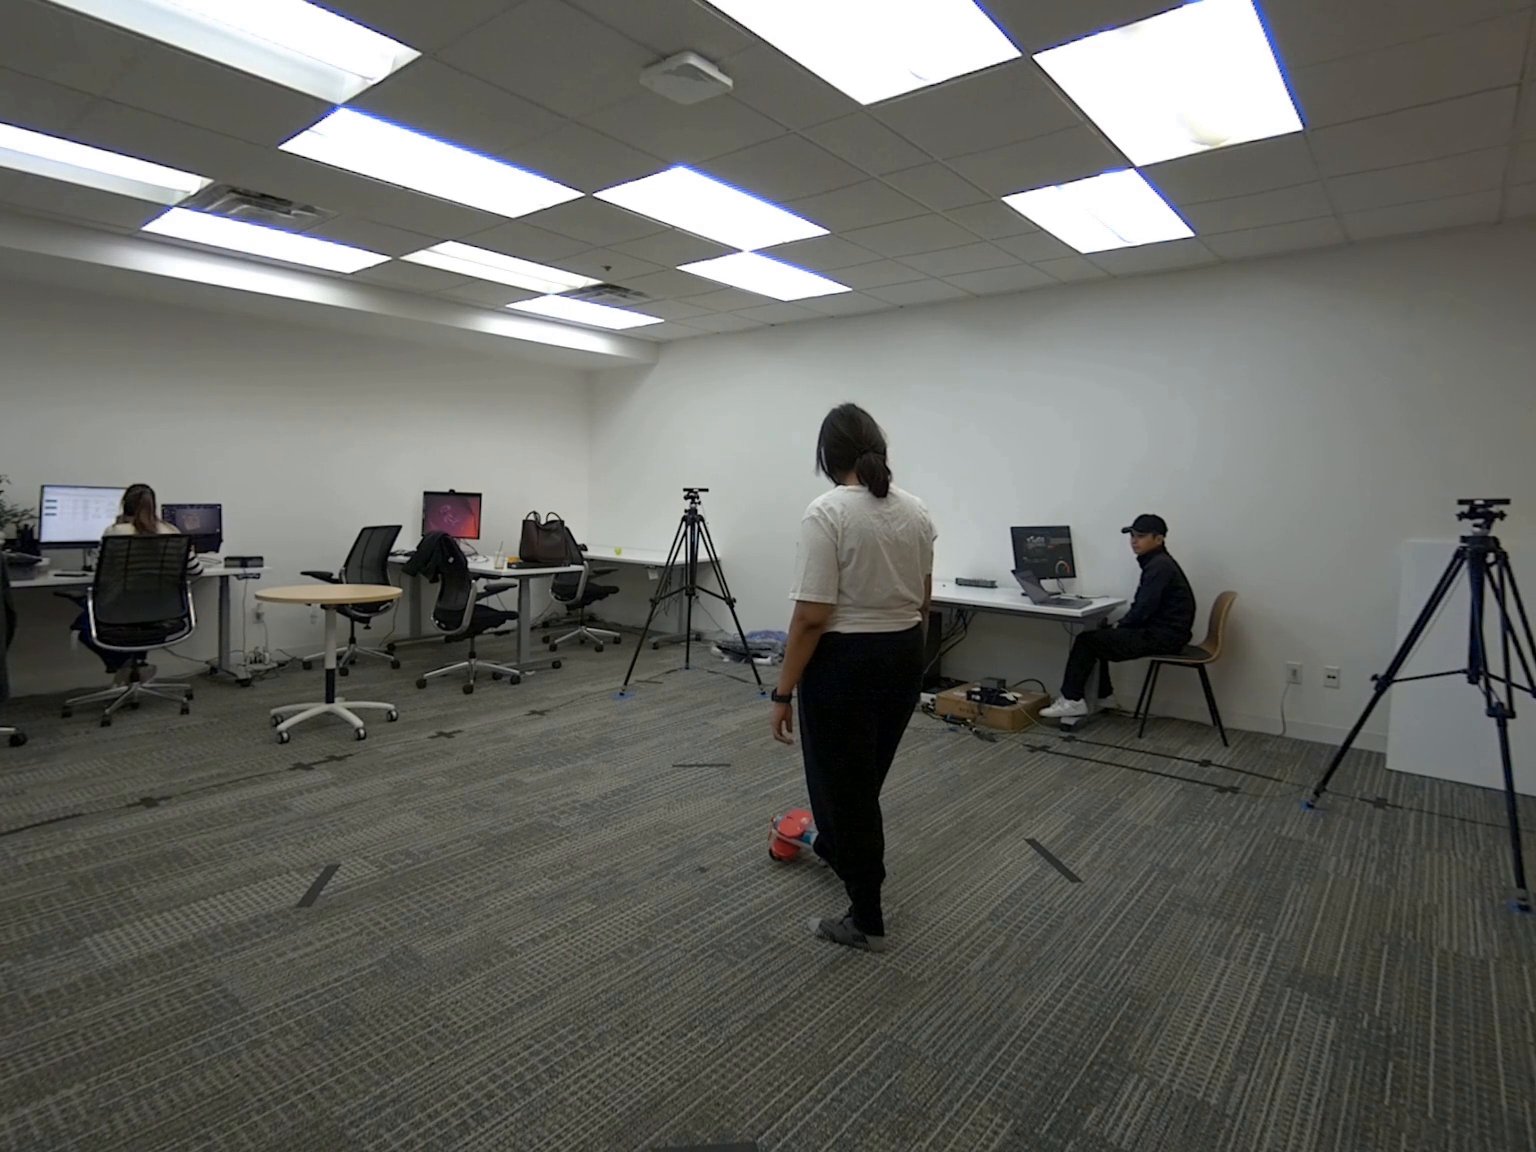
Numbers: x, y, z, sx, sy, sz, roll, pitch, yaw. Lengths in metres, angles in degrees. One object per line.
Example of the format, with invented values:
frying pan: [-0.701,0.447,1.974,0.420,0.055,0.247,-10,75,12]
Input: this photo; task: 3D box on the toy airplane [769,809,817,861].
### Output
toy airplane: [0.122,0.988,3.224,0.258,0.156,0.253,0,4,-6]
